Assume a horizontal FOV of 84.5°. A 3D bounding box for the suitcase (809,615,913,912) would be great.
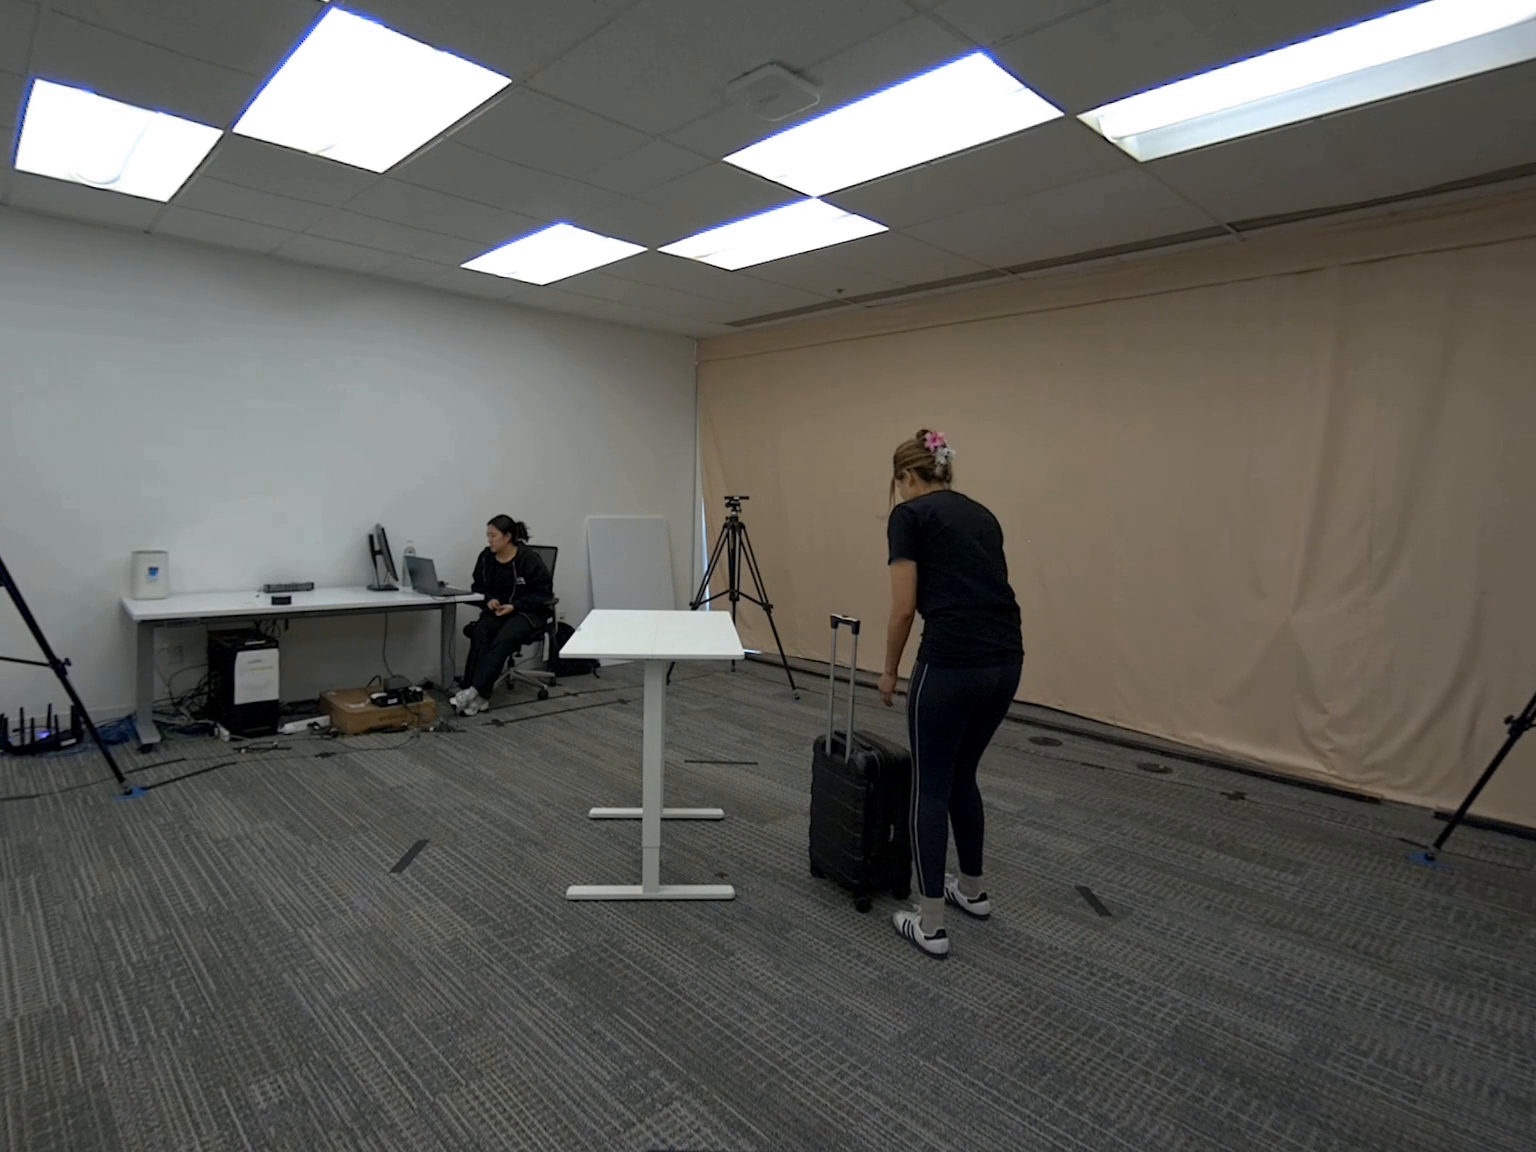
[{"bbox_3d":[0.336,0.645,3.021,0.253,0.977,0.391,2,3,-23],"label":"suitcase"}]
